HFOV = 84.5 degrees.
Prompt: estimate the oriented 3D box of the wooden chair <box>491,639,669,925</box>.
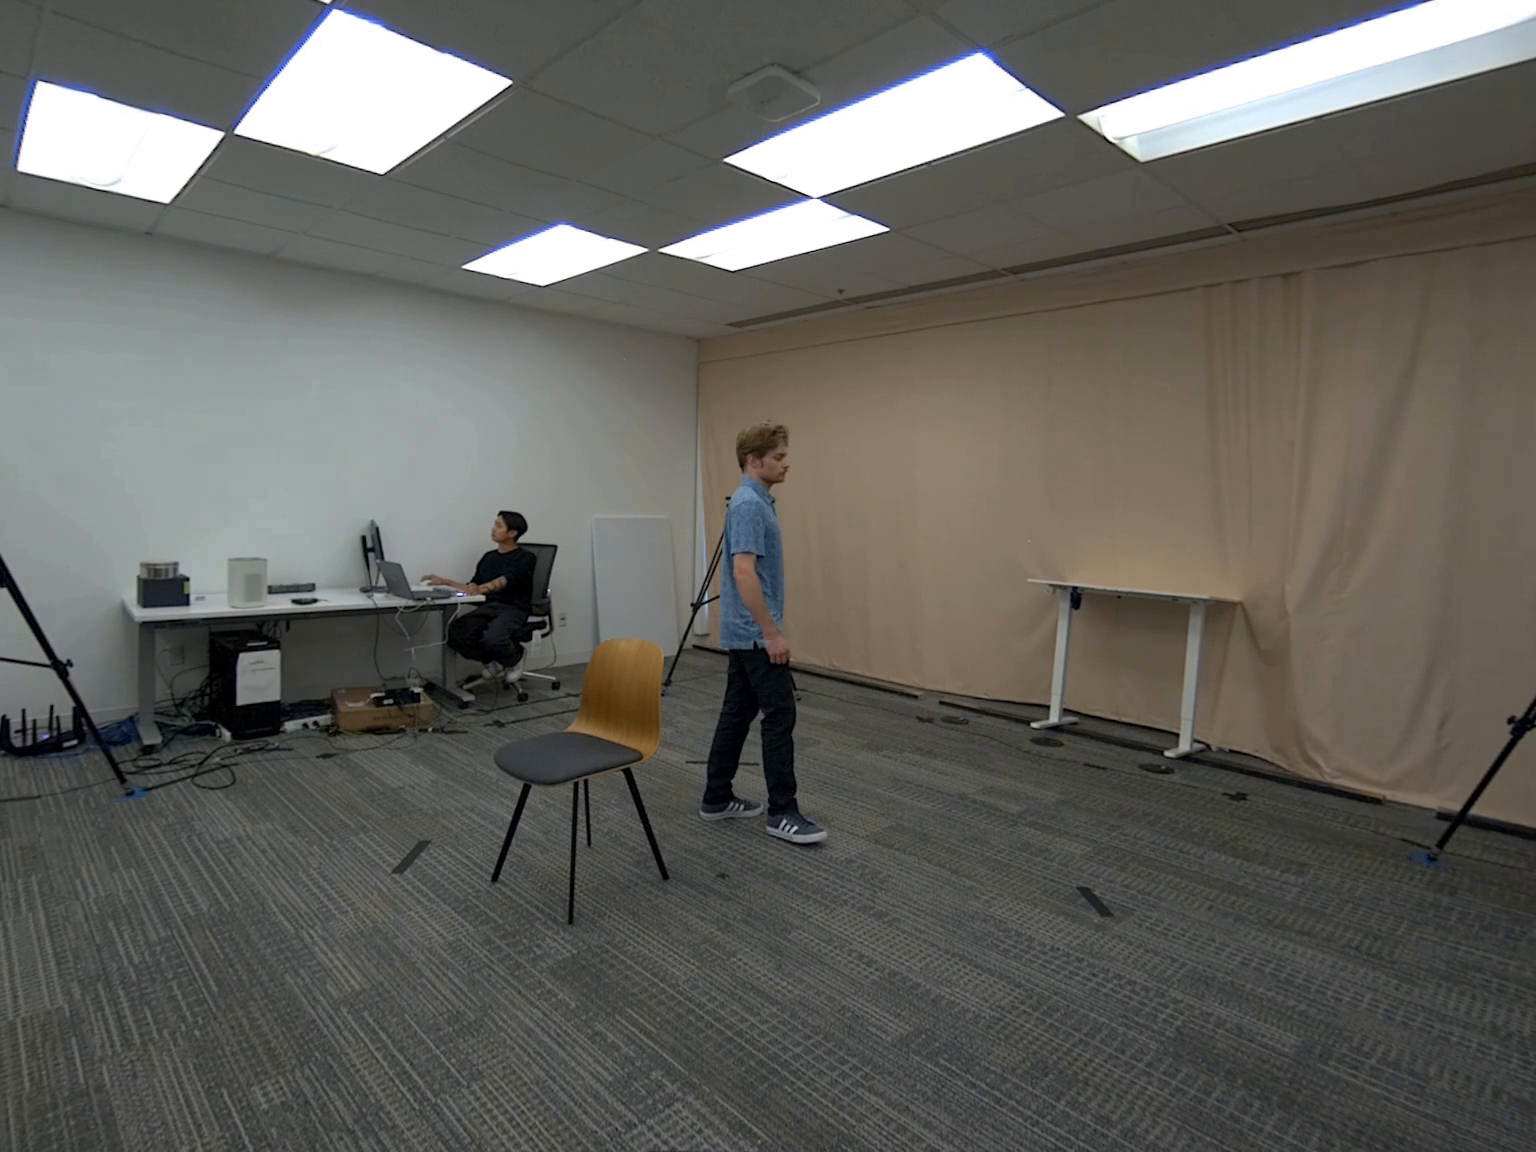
[{"bbox_3d":[-0.673,0.677,2.998,0.490,0.877,0.510,4,0,40],"label":"wooden chair"}]
